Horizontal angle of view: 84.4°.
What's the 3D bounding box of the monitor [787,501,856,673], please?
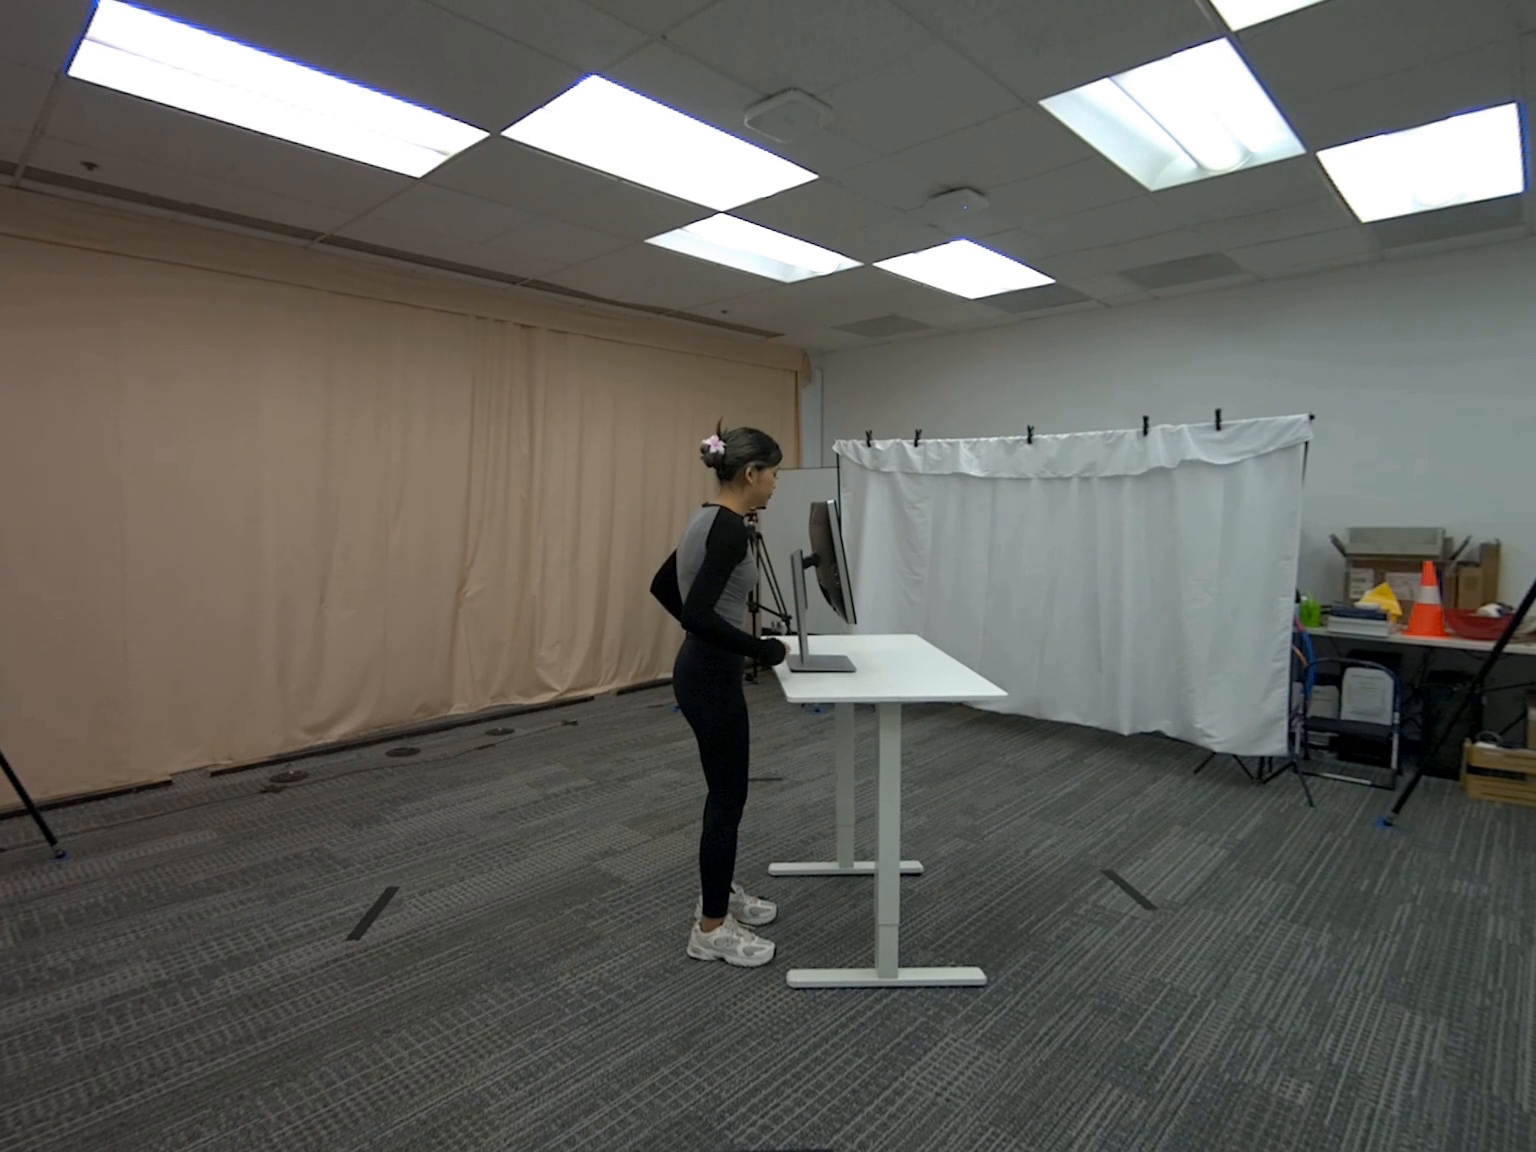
[{"bbox_3d":[0.166,0.031,2.687,0.187,0.521,0.542,2,5,-4],"label":"monitor"}]
